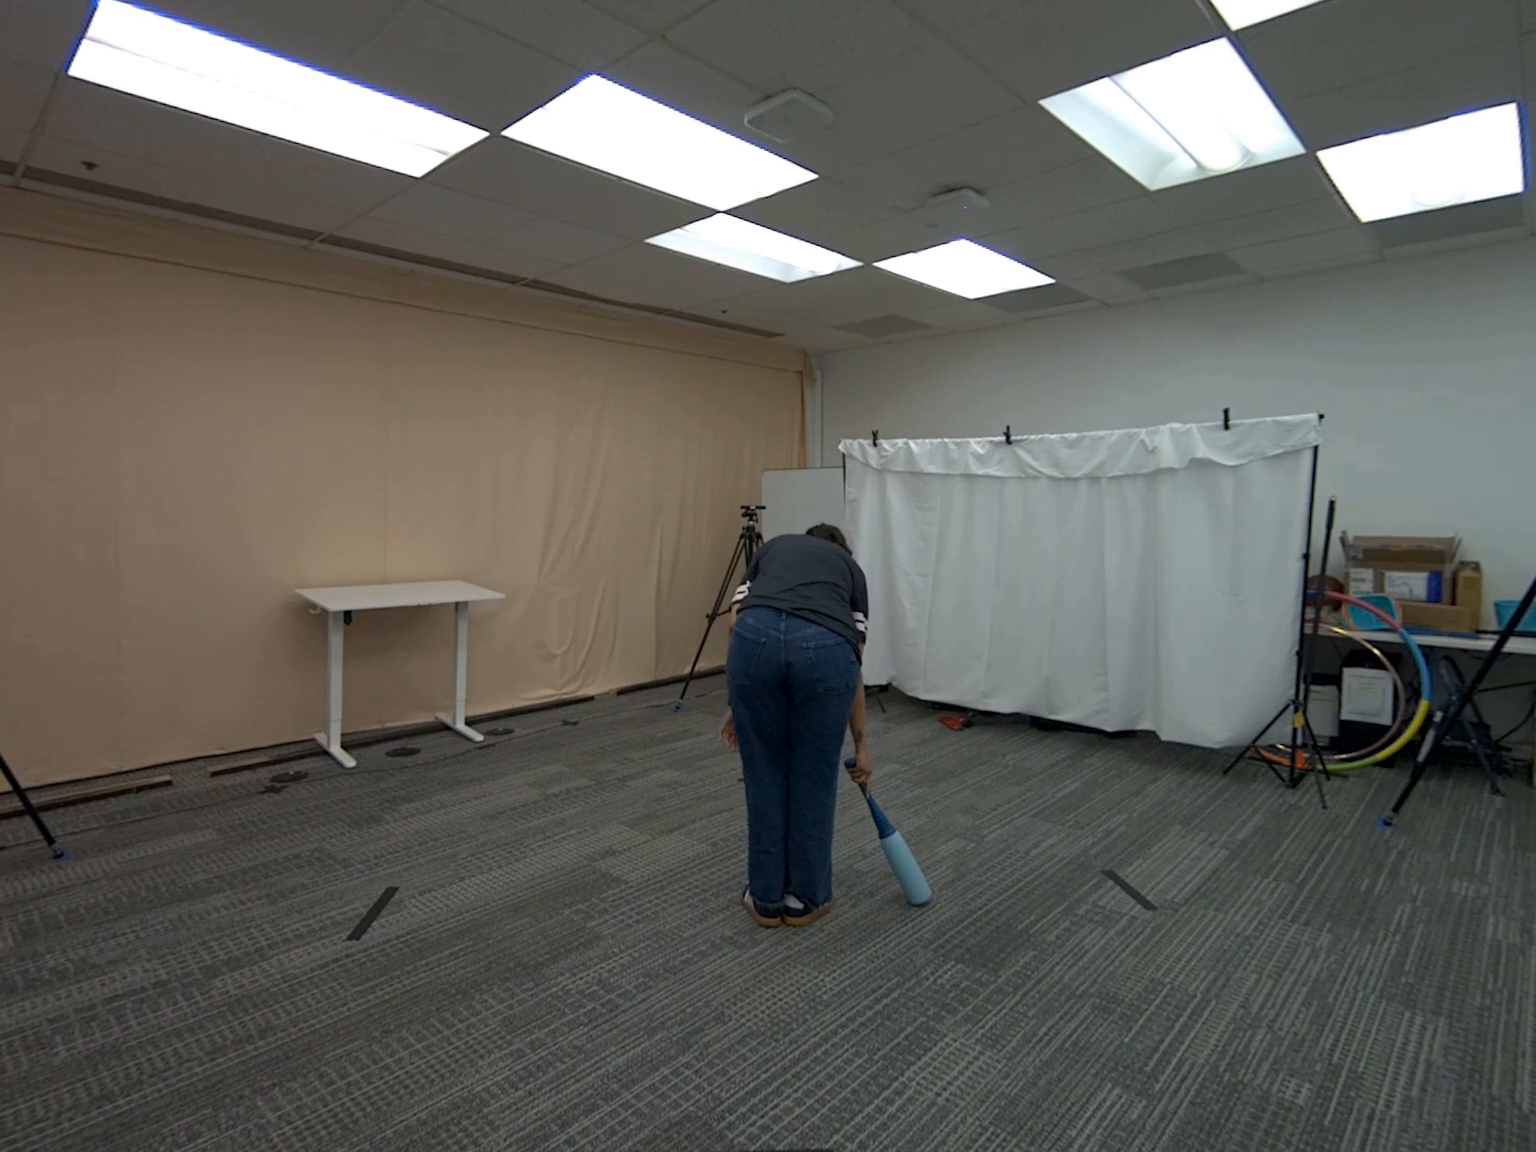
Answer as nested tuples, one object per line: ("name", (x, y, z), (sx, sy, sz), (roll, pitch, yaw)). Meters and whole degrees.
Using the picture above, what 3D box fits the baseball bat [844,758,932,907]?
("baseball bat", (0.413, 0.900, 2.963), (0.089, 0.546, 0.089), (-29, -6, -4))
